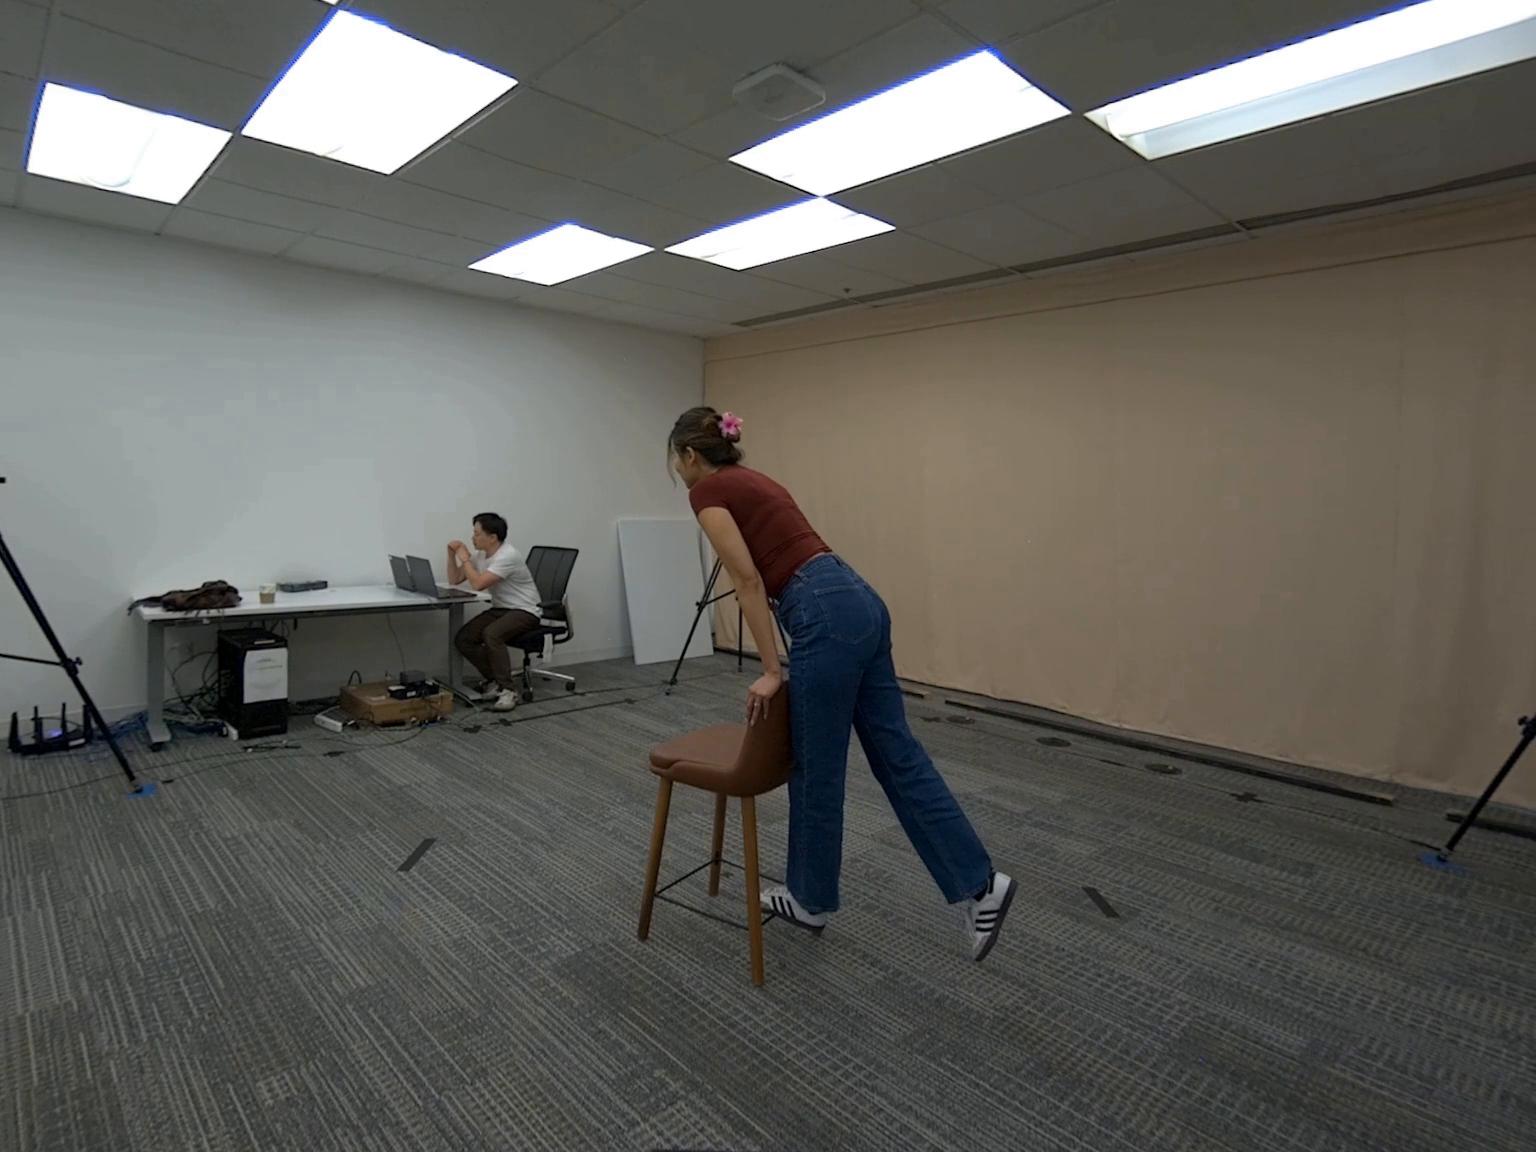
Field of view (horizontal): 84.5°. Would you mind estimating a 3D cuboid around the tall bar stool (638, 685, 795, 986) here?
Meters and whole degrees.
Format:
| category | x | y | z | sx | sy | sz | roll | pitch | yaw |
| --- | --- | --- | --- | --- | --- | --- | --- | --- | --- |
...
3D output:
| category | x | y | z | sx | sy | sz | roll | pitch | yaw |
| --- | --- | --- | --- | --- | --- | --- | --- | --- | --- |
| tall bar stool | -0.099 | 0.708 | 2.641 | 0.479 | 0.886 | 0.447 | 6 | 6 | 34 |
